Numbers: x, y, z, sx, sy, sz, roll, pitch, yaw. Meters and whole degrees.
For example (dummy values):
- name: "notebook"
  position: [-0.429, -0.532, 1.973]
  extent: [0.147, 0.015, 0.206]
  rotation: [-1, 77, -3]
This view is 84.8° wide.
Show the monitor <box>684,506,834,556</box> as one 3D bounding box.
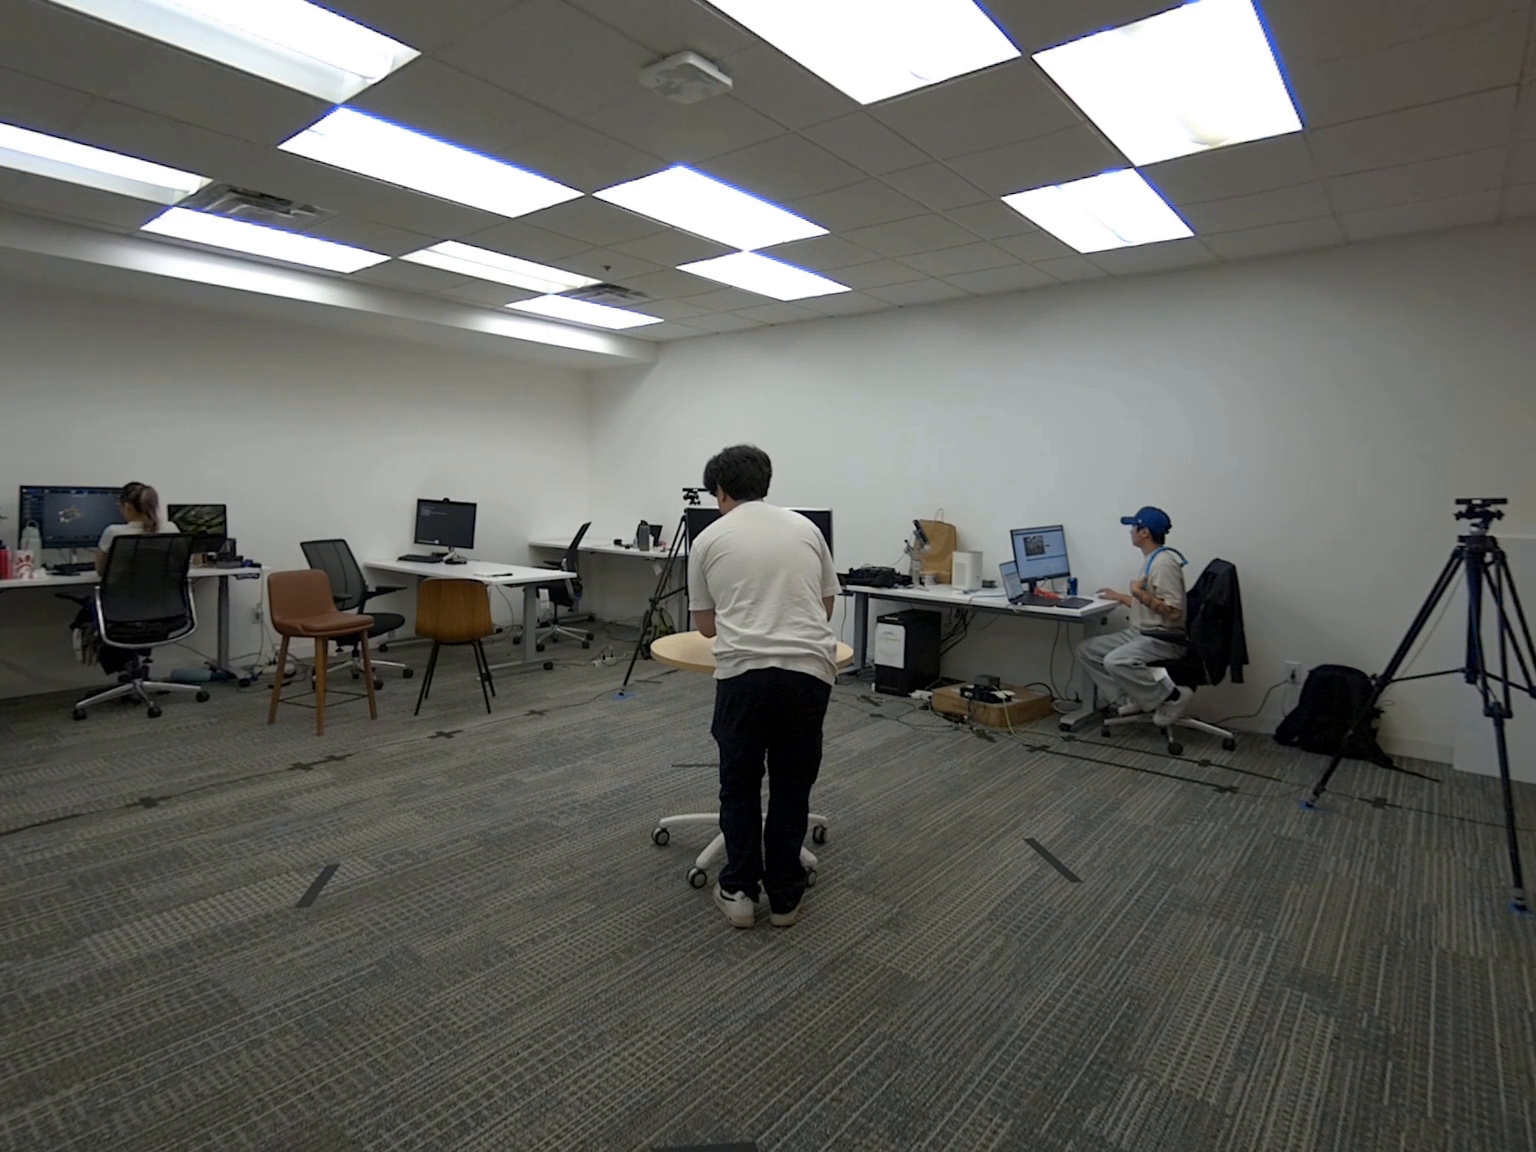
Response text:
- name: "monitor"
  position: [-0.059, 0.017, 3.149]
  extent: [0.576, 0.548, 0.208]
  rotation: [2, 11, 18]
